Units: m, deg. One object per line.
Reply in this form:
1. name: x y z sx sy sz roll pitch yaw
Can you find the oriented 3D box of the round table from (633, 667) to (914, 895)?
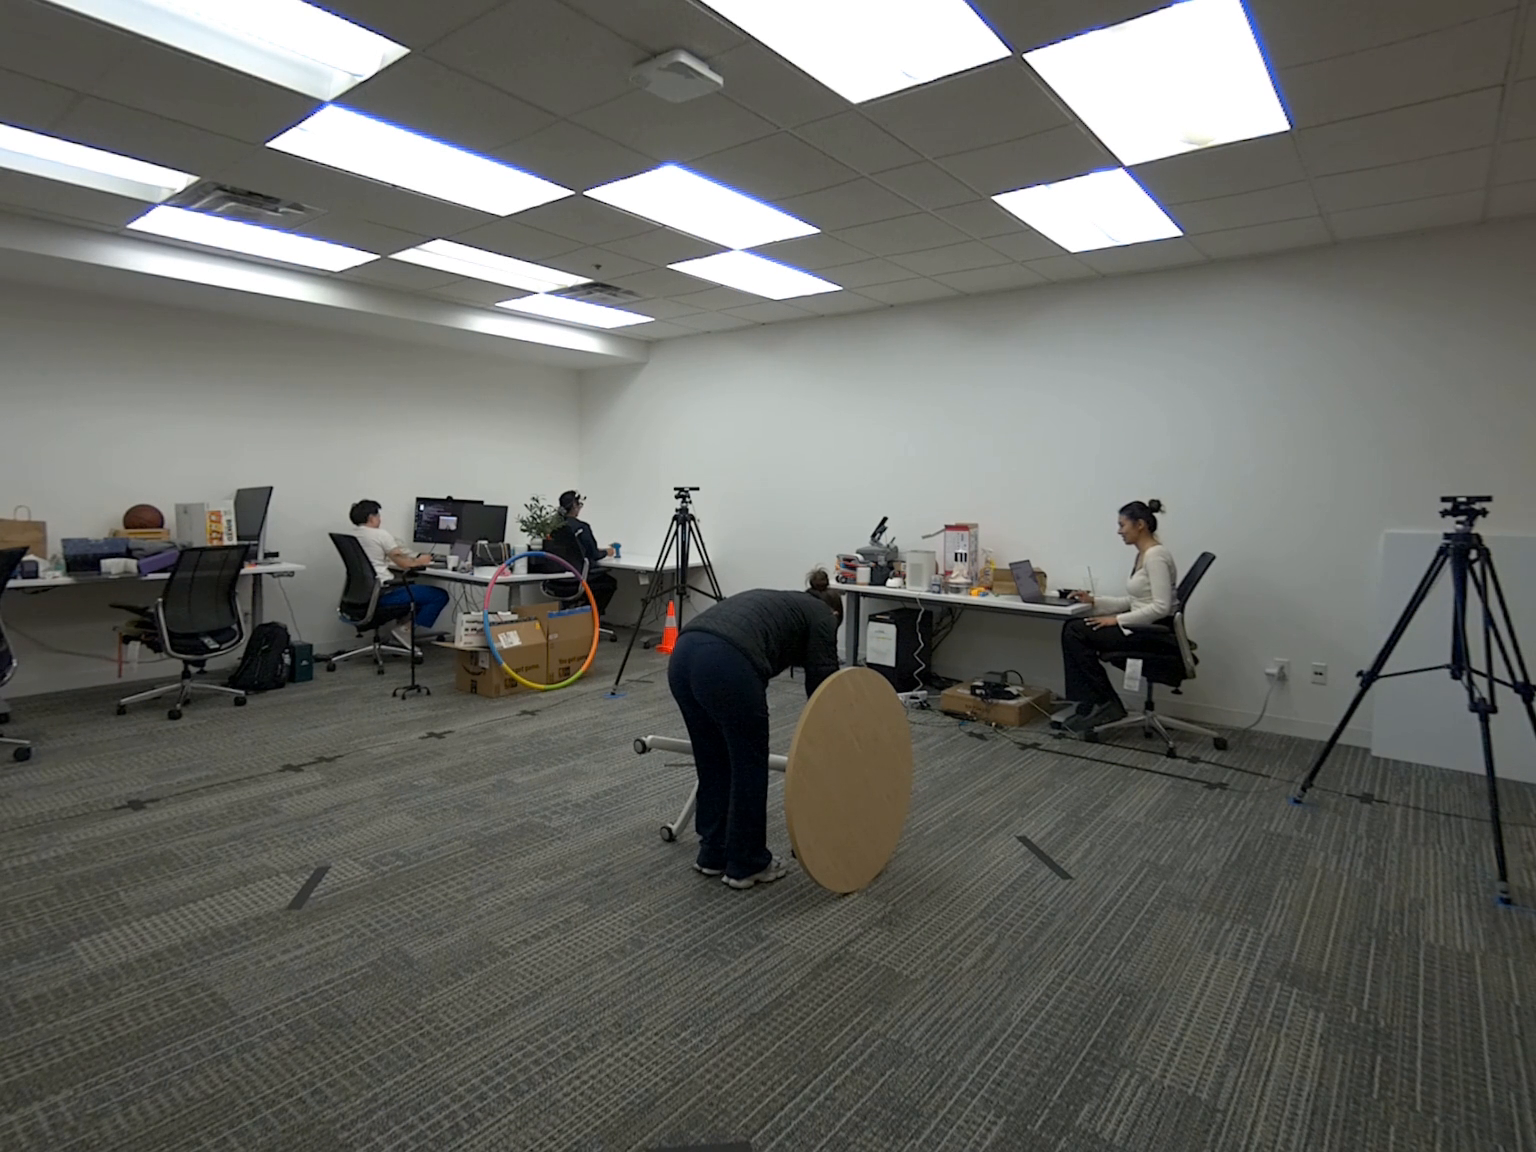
1. round table: 0.013 0.719 3.261 0.810 0.785 0.762 -3 1 41
